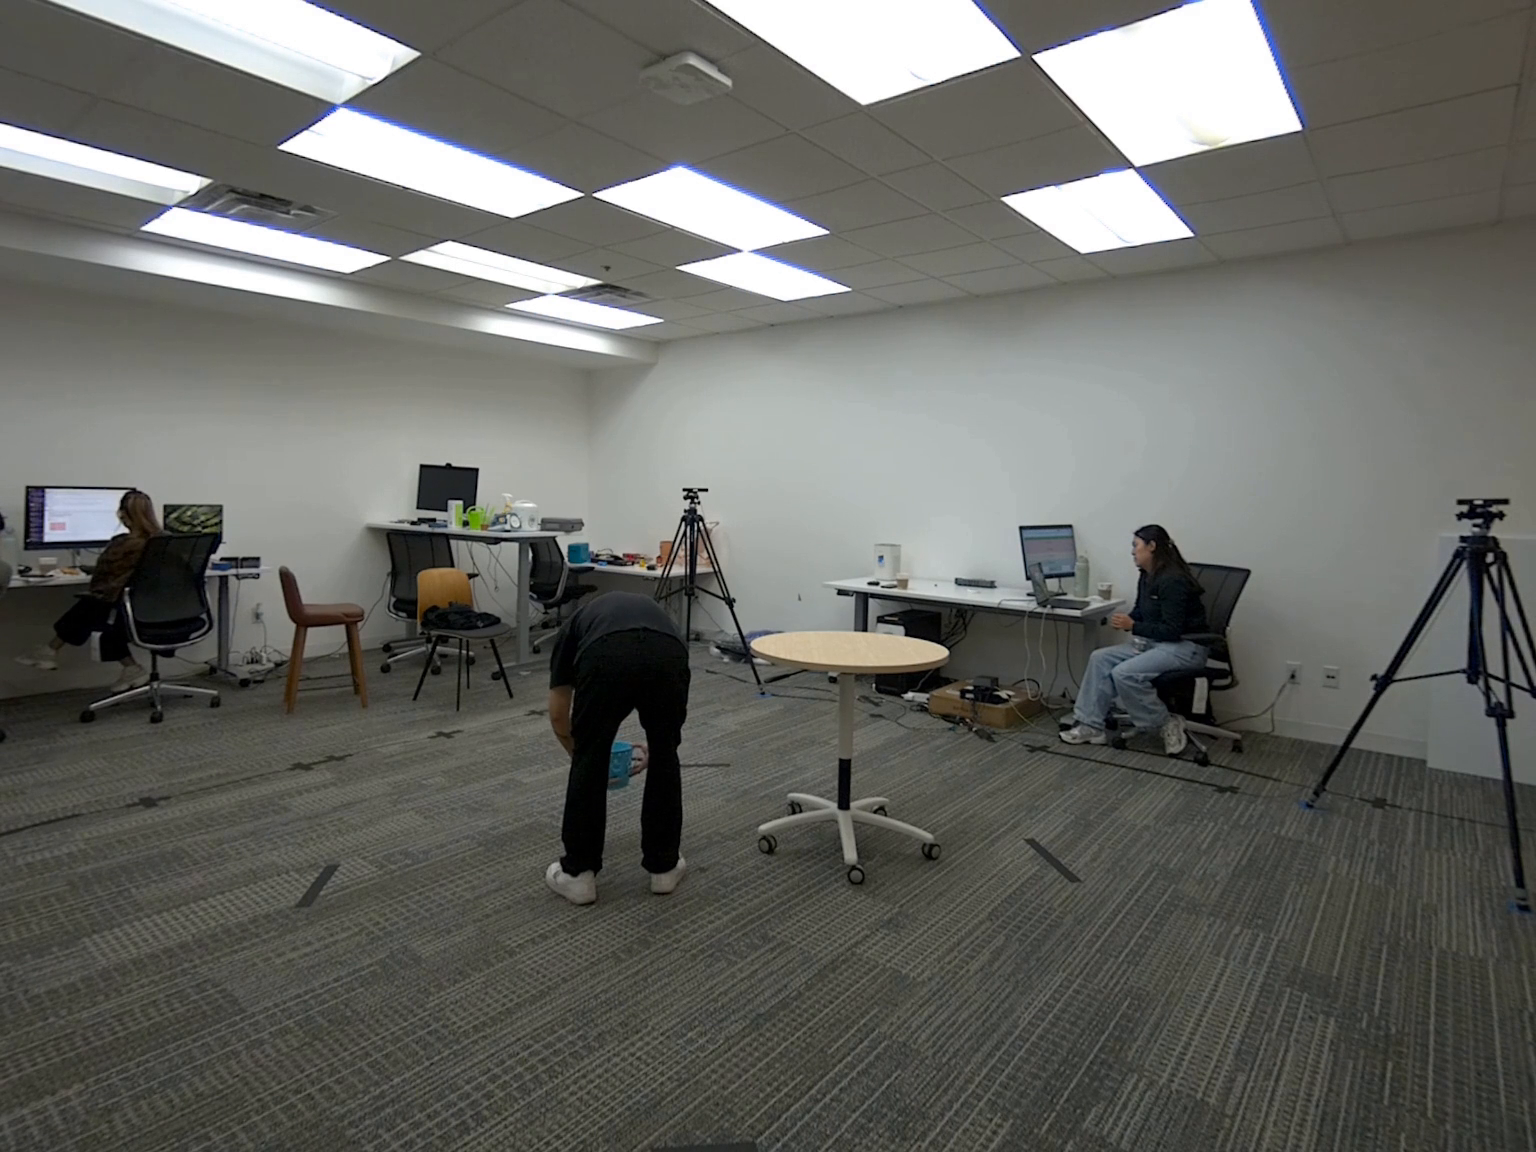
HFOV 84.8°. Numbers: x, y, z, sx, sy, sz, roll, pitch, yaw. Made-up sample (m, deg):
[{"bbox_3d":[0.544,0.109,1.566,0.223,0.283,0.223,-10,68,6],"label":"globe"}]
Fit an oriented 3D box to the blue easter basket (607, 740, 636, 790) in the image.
[{"bbox_3d":[-0.658,0.753,3.406,0.243,0.156,0.243,0,-1,-2],"label":"blue easter basket"}]
